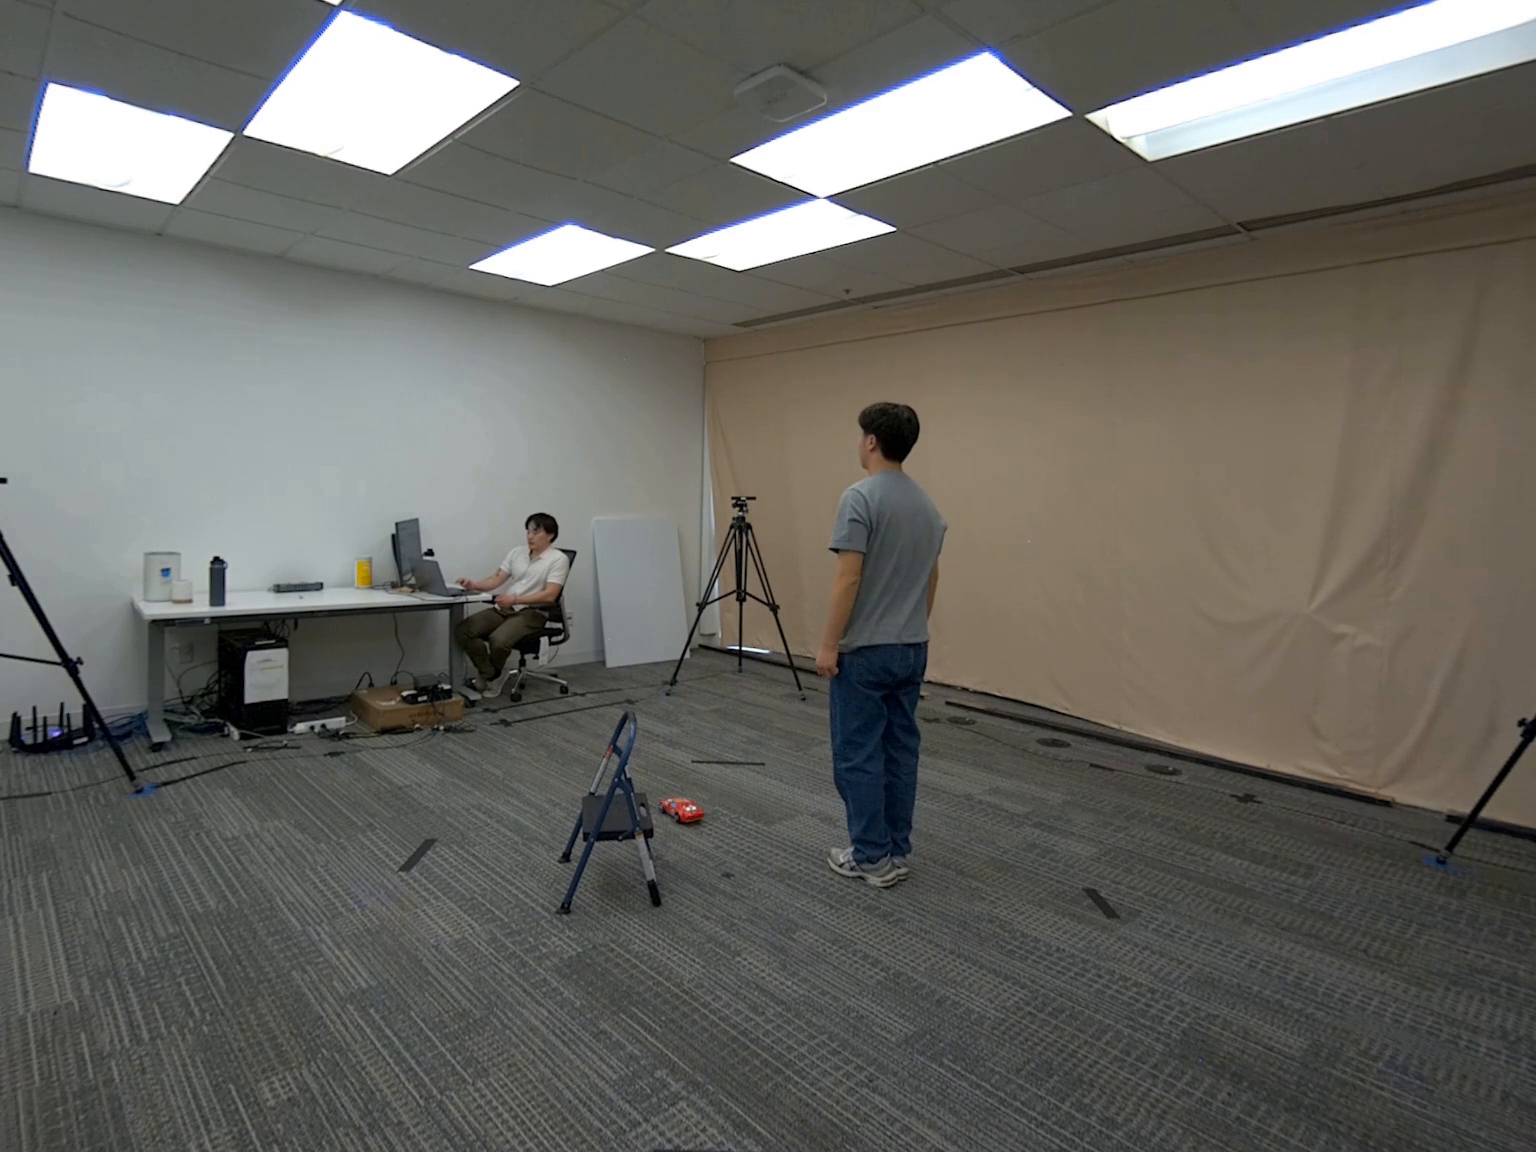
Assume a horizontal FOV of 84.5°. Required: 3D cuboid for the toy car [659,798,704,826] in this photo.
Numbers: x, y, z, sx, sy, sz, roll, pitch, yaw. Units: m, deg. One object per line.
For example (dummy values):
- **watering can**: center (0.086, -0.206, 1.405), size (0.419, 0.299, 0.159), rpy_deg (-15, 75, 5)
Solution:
- **toy car**: center (-0.382, 1.020, 3.663), size (0.127, 0.083, 0.259), rpy_deg (-1, -6, -34)
